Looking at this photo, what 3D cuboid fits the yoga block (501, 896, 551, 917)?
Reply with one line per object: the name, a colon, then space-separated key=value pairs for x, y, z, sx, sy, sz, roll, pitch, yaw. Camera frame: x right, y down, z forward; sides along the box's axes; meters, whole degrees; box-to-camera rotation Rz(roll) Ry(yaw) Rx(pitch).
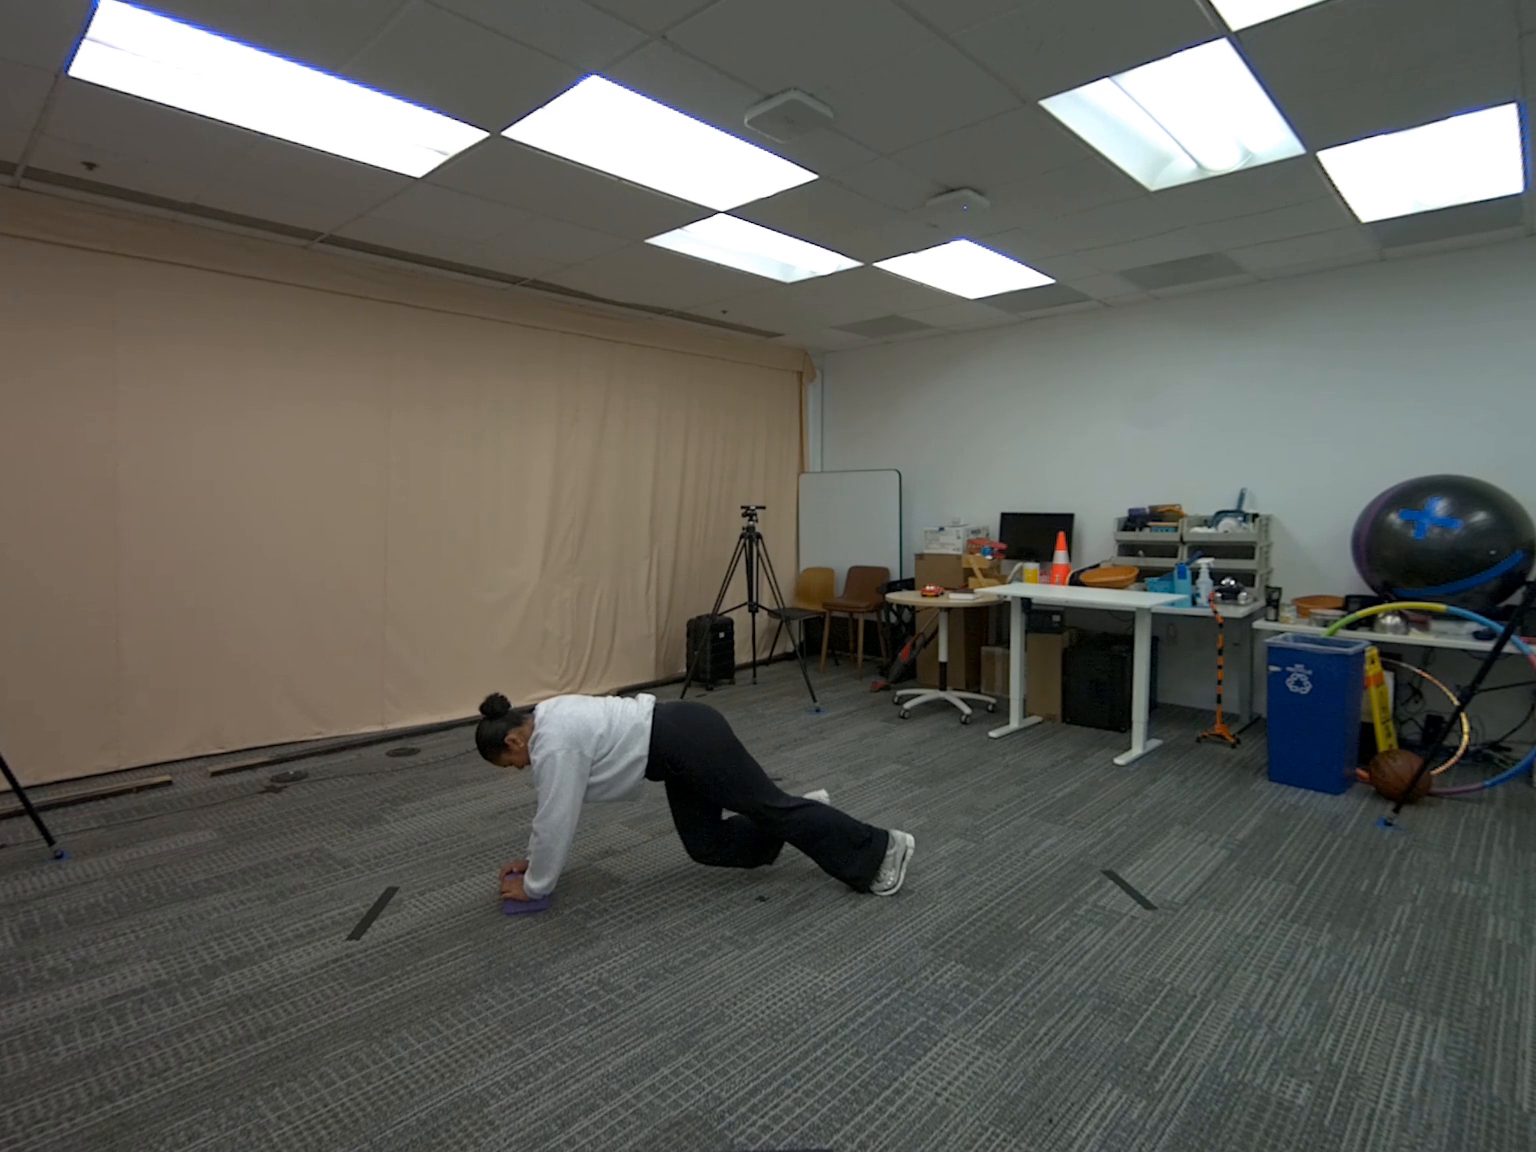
yoga block: x=-0.868 y=1.123 z=2.998 sx=0.146 sy=0.076 sz=0.233 roll=-1 pitch=4 yaw=-17
